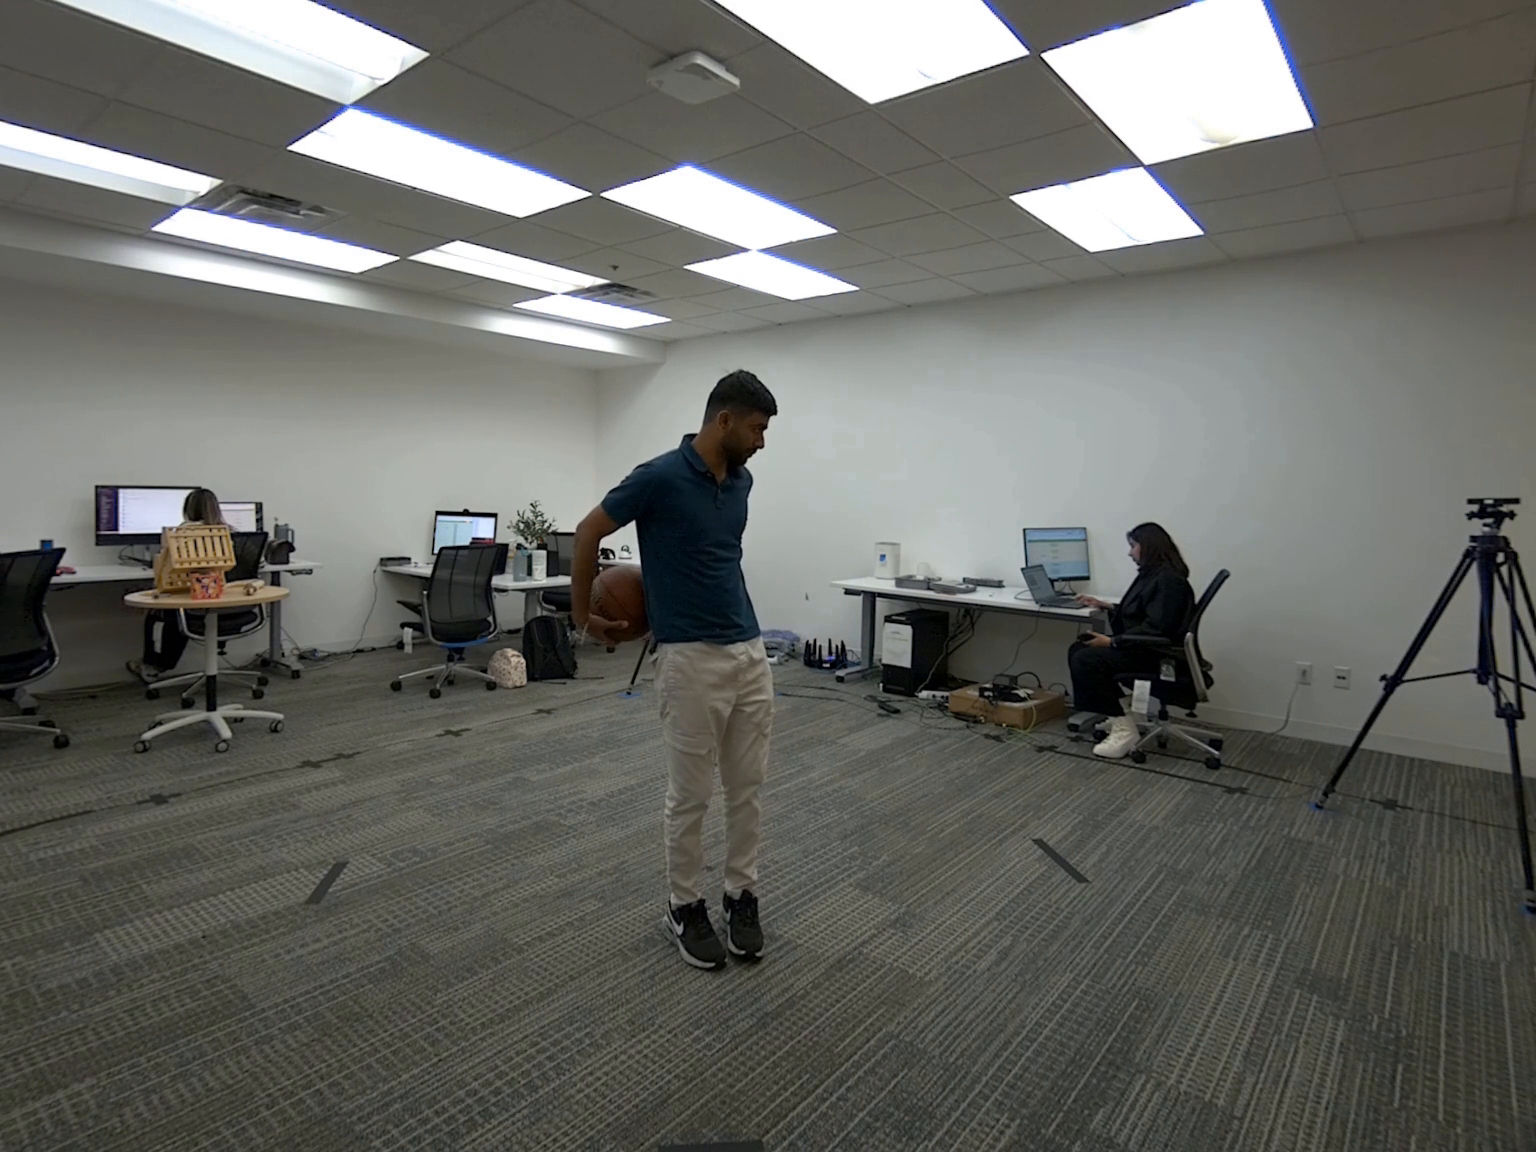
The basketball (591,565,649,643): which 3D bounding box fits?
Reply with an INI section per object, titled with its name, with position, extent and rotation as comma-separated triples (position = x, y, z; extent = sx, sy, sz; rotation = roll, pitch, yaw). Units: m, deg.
[basketball]
position = -0.453, 0.080, 2.664
extent = 0.235, 0.235, 0.237
rotation = 1, 4, -2
